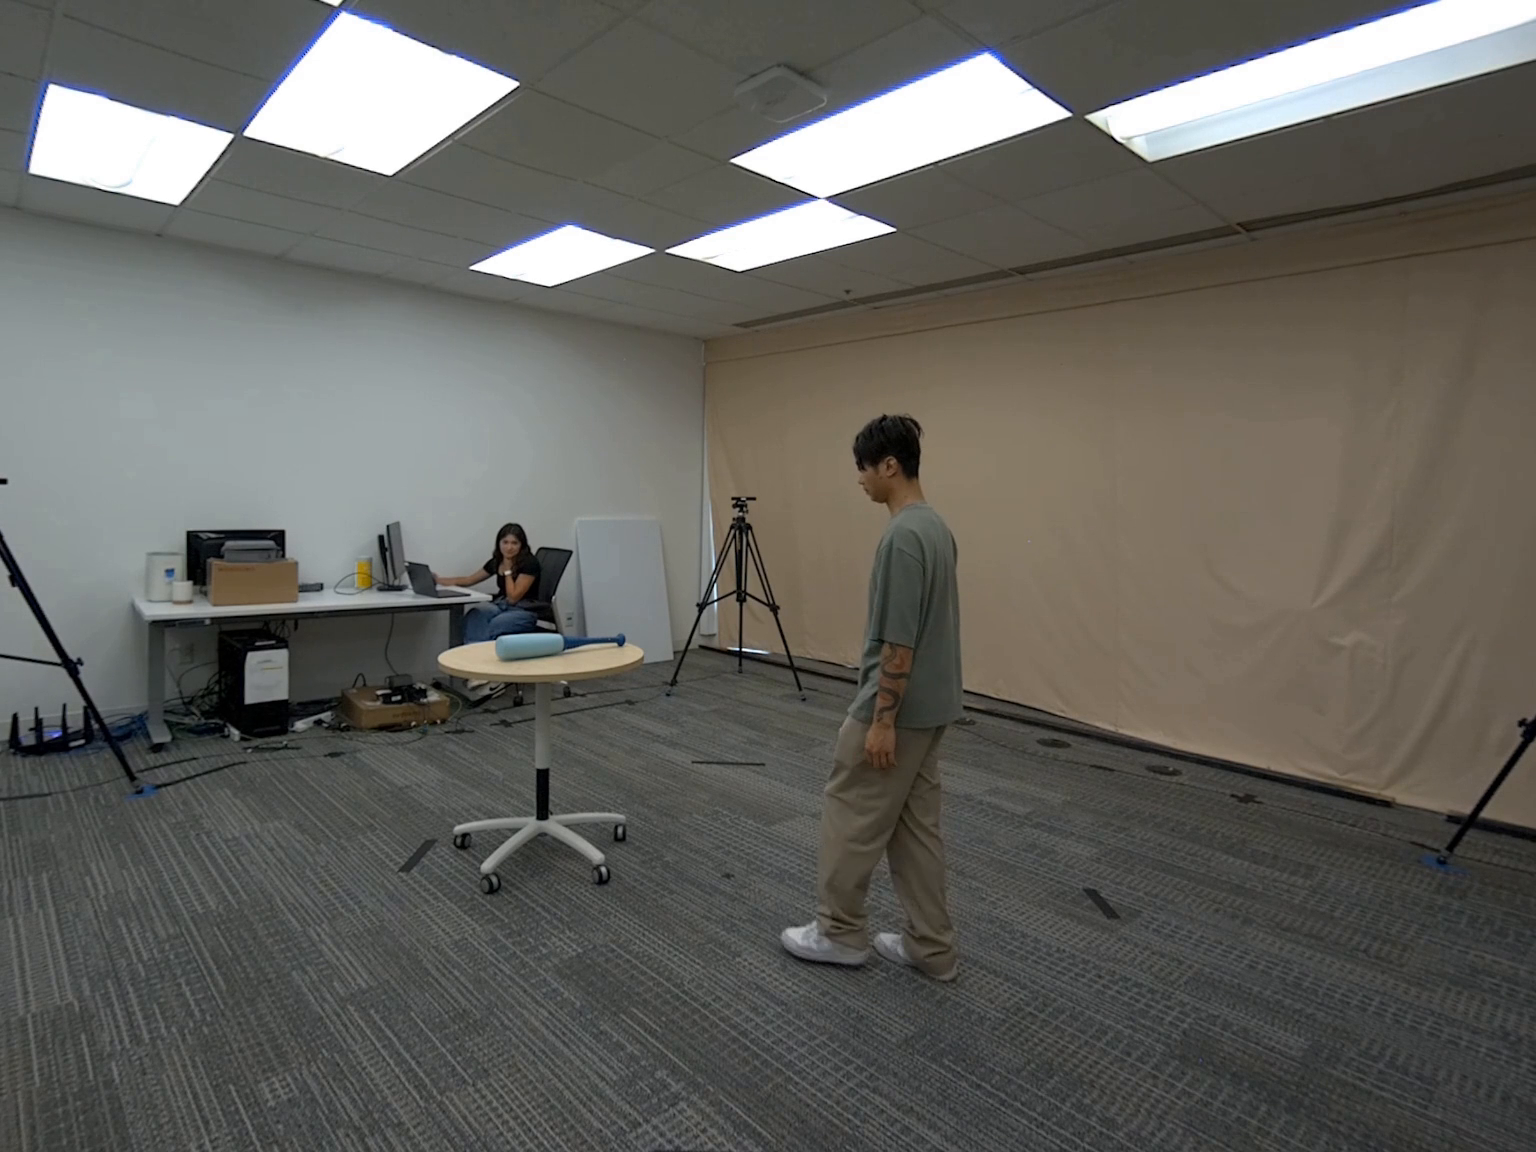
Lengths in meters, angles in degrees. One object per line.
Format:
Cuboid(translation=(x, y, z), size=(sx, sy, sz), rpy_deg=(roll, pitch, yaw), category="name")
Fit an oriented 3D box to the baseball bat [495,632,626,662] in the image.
Cuboid(translation=(-0.786, 0.260, 3.226), size=(0.530, 0.089, 0.091), rpy_deg=(-1, 5, -42), category="baseball bat")
